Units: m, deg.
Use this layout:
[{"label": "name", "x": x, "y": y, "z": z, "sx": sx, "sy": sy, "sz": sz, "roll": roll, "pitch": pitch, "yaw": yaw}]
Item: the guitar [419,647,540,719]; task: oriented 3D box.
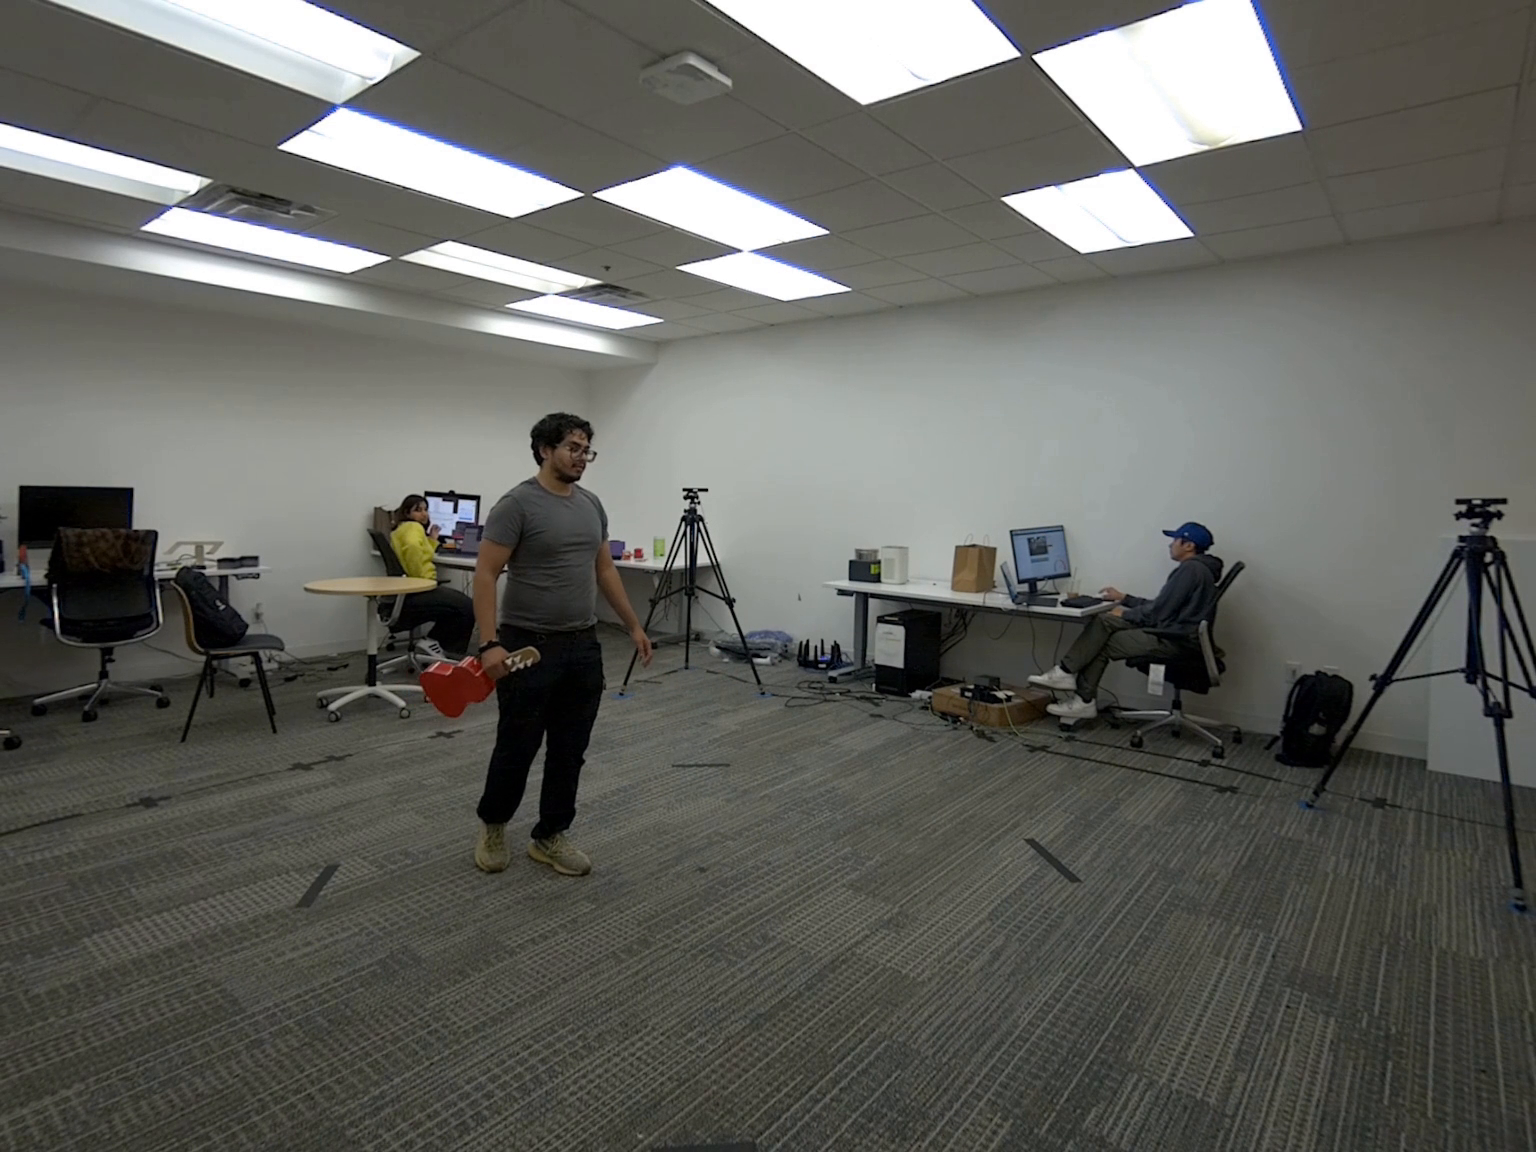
[{"label": "guitar", "x": -0.977, "y": 0.305, "z": 2.813, "sx": 0.503, "sy": 0.191, "sz": 0.070, "roll": -30, "pitch": 8, "yaw": 31}]
